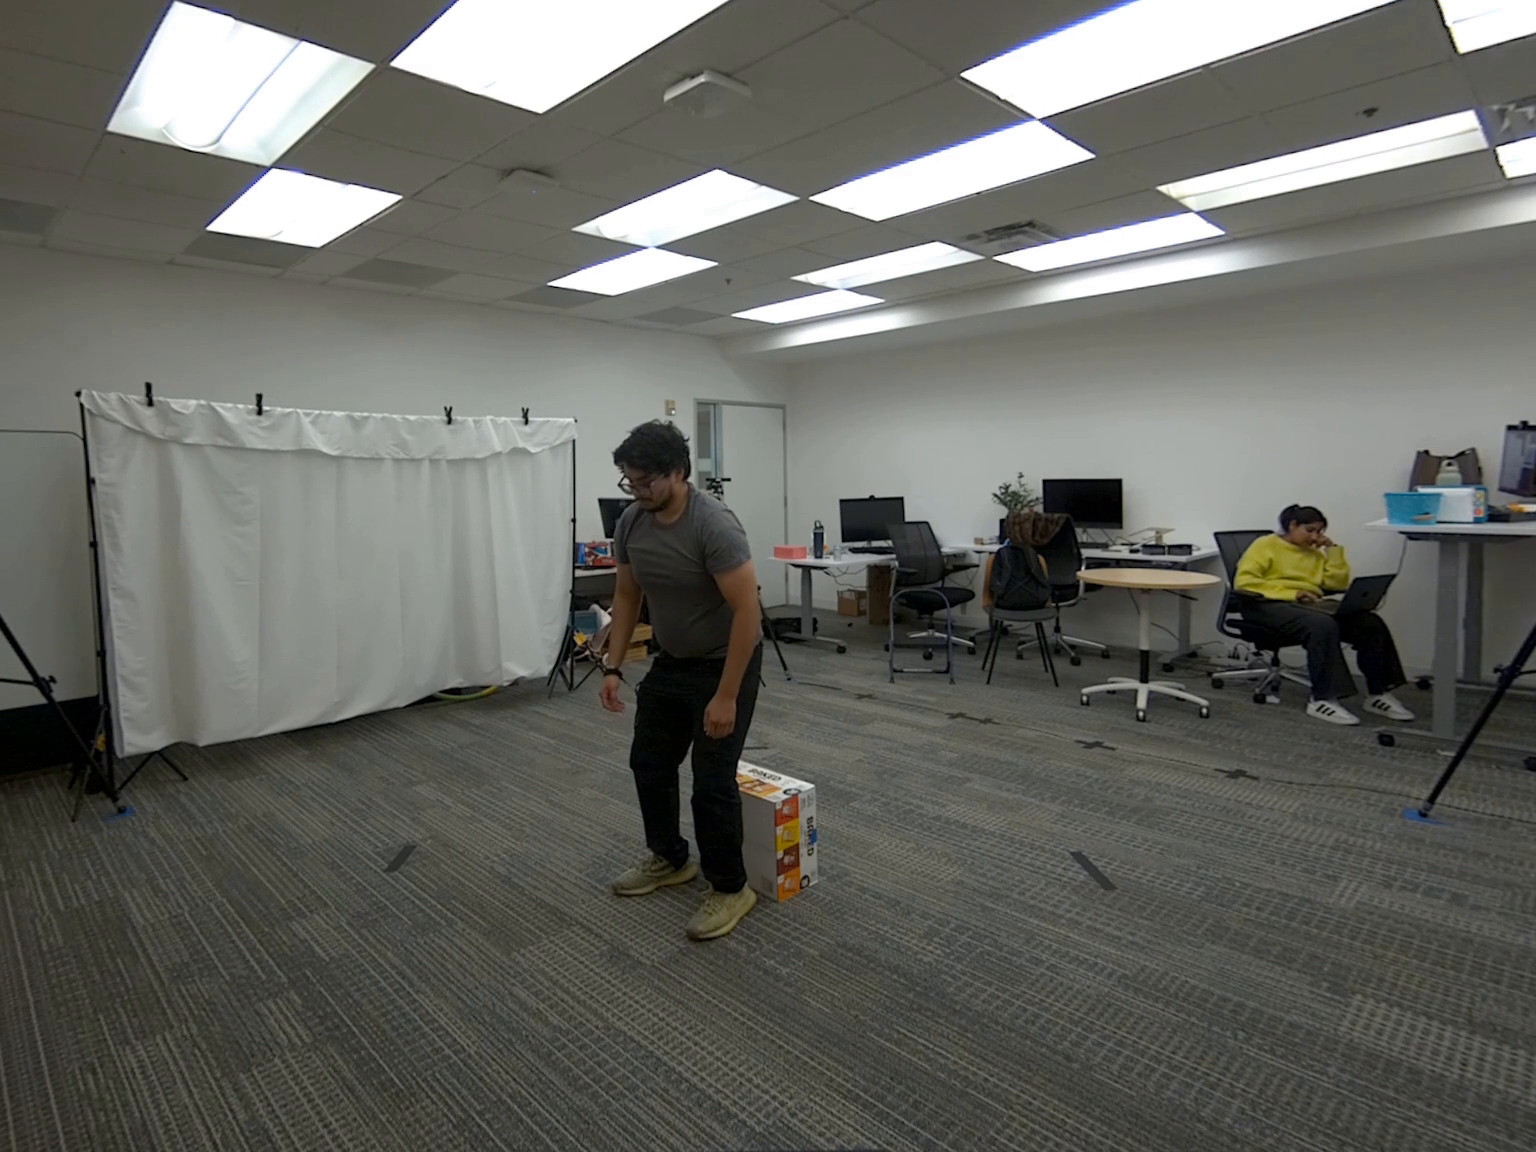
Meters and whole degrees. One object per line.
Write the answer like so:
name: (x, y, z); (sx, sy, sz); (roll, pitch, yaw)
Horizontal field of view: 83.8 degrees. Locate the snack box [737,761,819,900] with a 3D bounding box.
snack box: (-0.042, 0.883, 3.019); (0.200, 0.339, 0.418); (-5, 7, -44)
